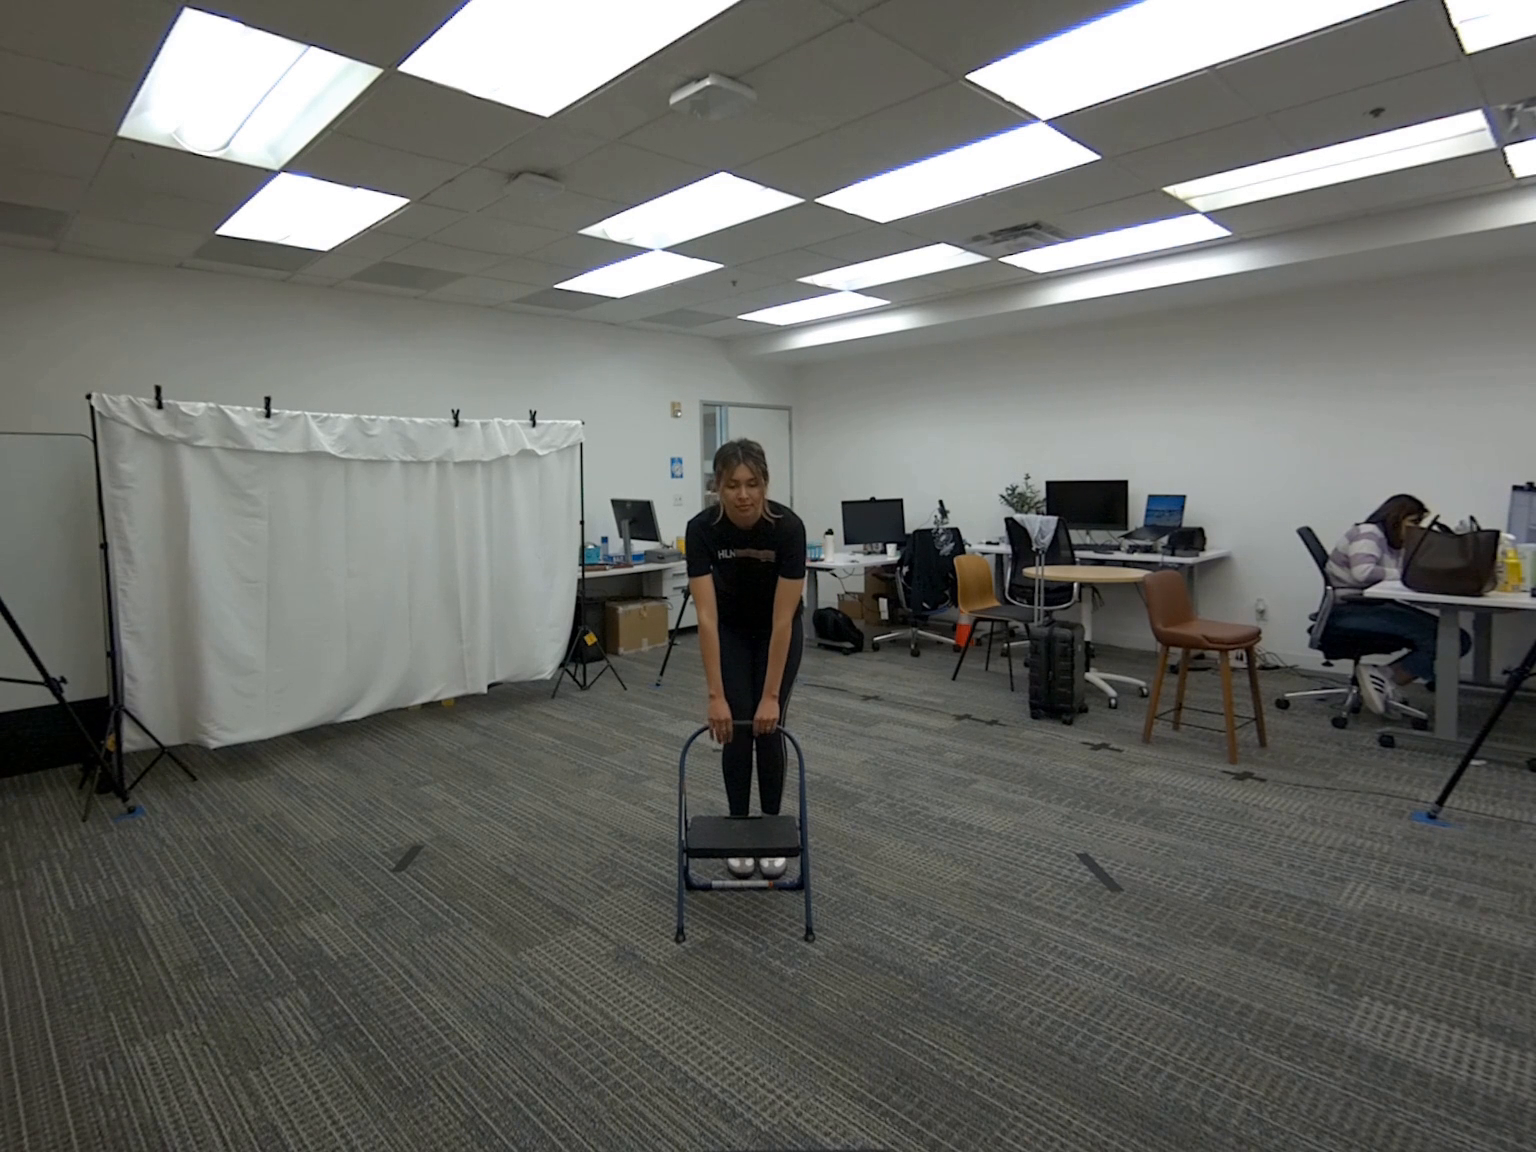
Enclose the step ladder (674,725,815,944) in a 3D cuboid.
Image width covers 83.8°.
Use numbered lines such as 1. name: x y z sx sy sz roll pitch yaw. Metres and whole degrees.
1. step ladder: -0.077 0.794 2.744 0.431 0.604 0.351 0 5 -1
